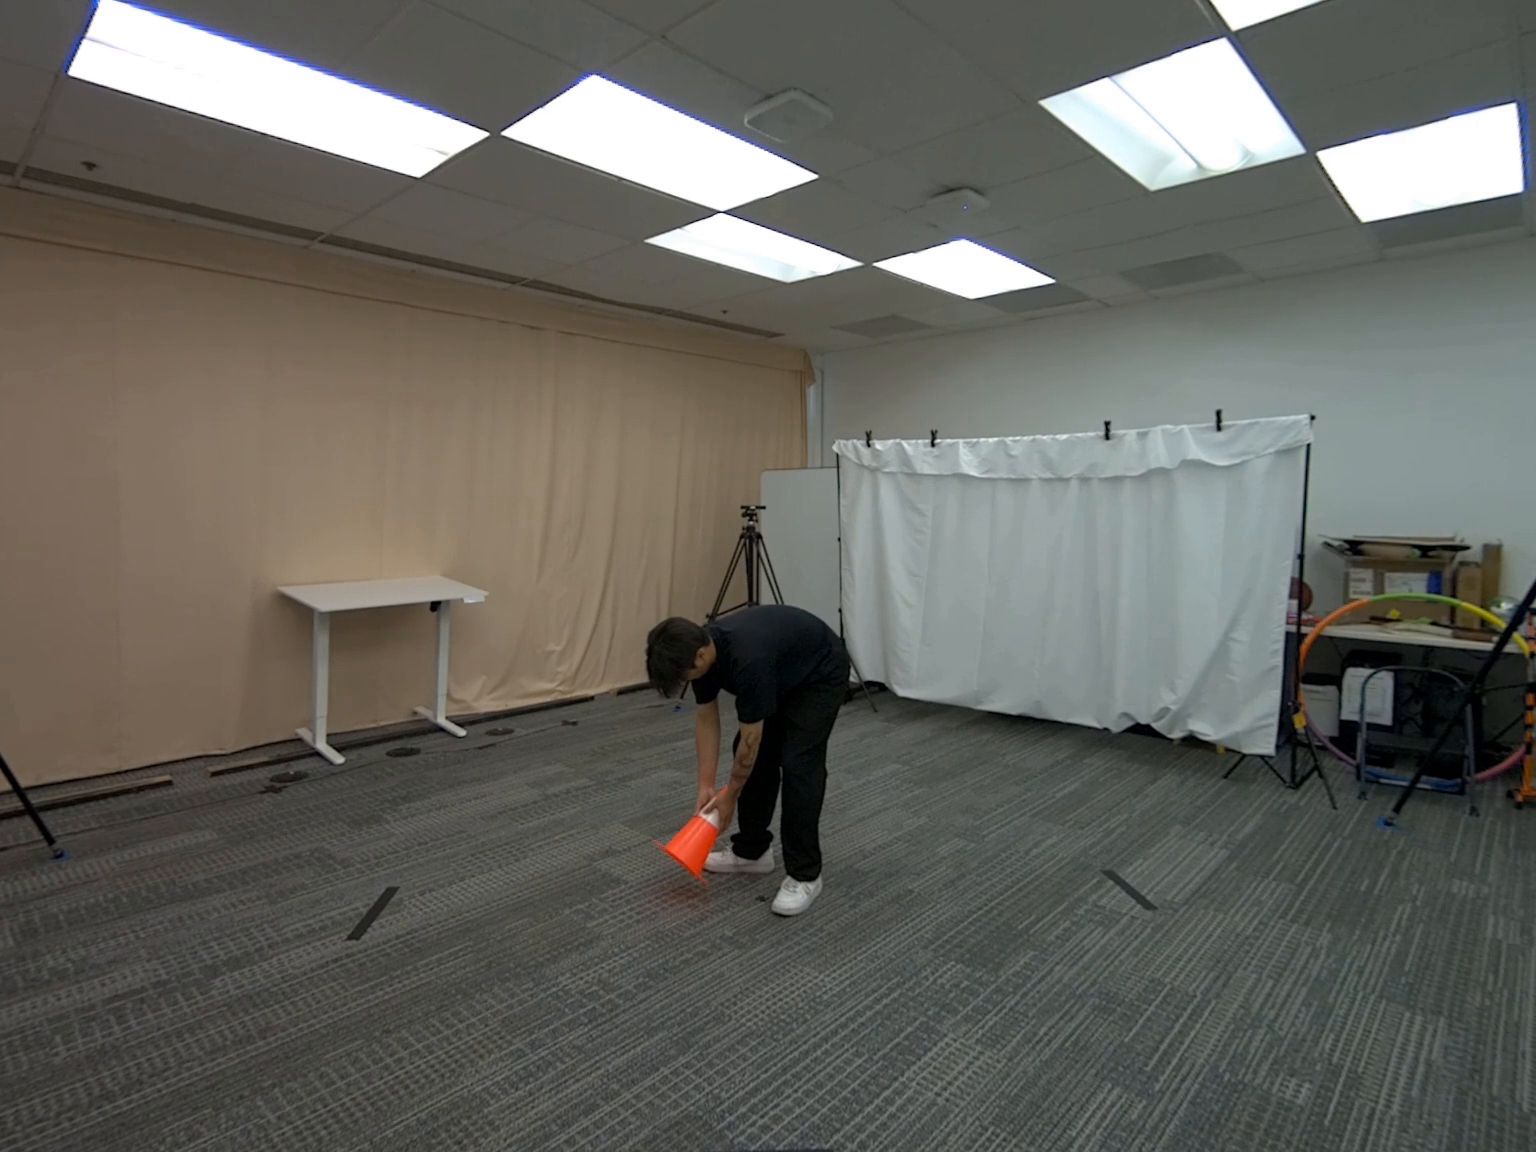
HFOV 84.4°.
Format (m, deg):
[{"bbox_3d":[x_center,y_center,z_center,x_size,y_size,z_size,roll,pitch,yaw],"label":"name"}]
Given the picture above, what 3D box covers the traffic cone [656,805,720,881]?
[{"bbox_3d":[-0.202,0.892,3.076,0.212,0.382,0.197,7,-37,53],"label":"traffic cone"}]
